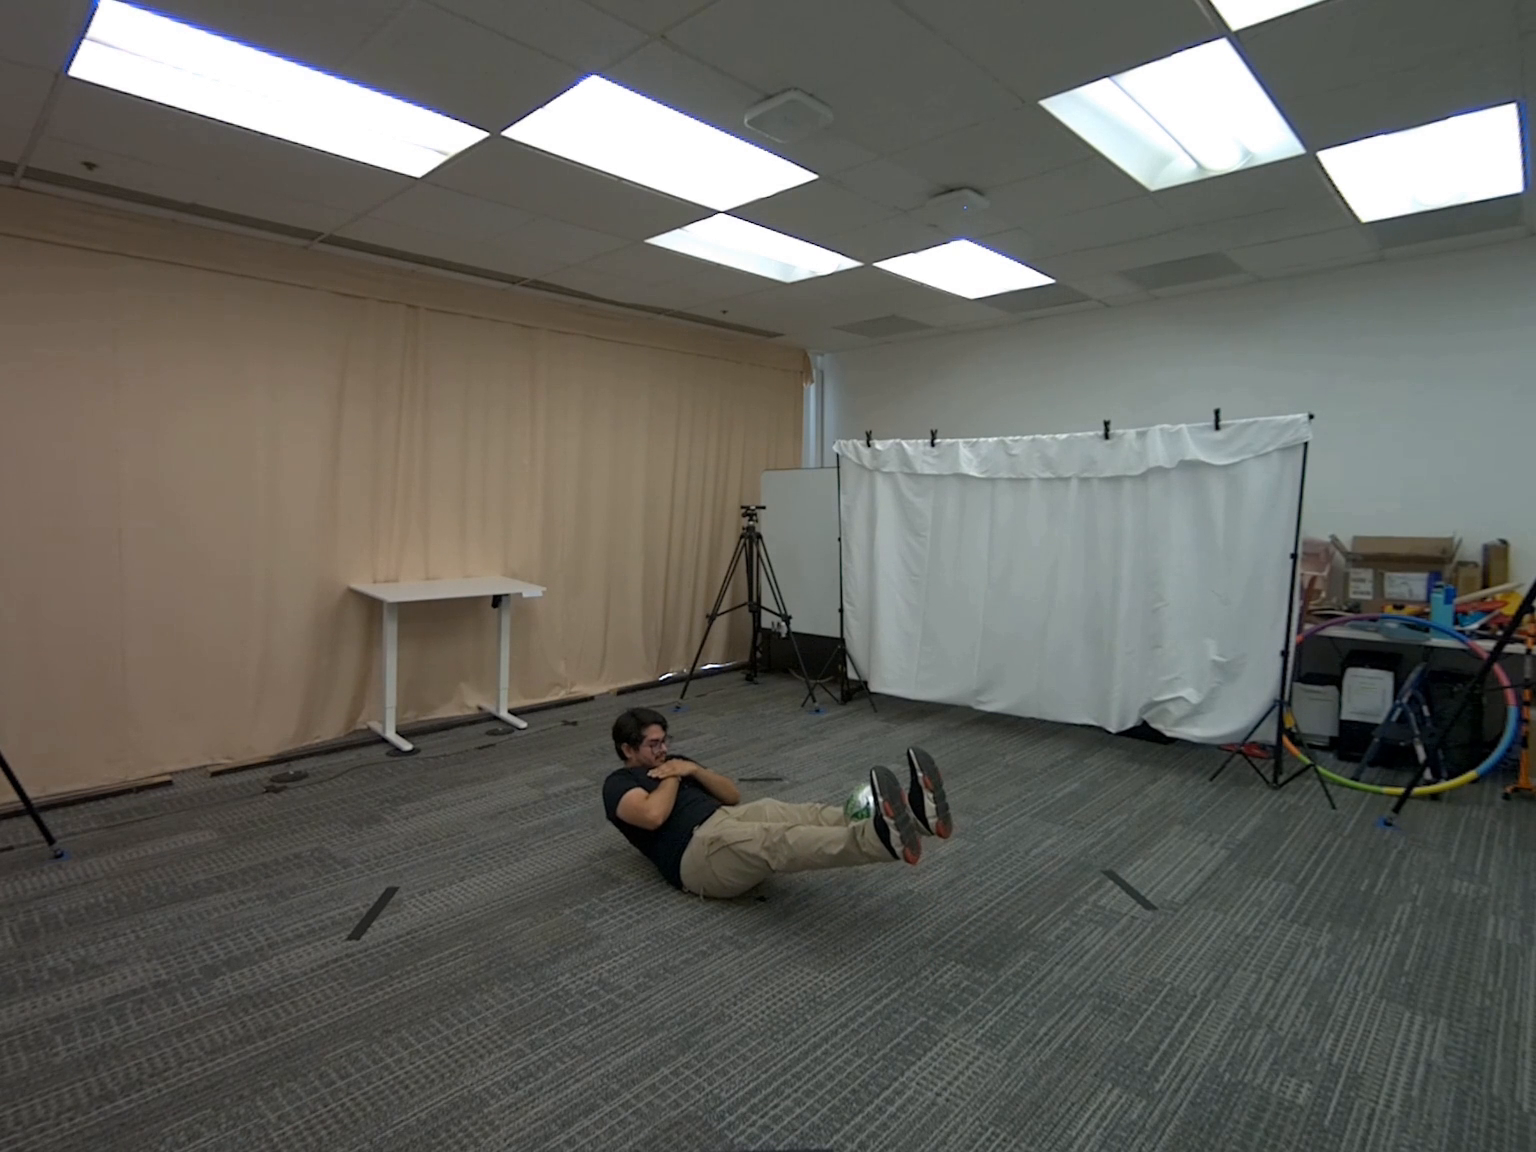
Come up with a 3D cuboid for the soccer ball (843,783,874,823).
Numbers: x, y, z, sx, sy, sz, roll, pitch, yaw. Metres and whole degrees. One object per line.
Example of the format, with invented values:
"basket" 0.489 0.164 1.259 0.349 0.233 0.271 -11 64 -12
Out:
"soccer ball" 0.346 0.768 2.688 0.187 0.187 0.188 0 4 -2
